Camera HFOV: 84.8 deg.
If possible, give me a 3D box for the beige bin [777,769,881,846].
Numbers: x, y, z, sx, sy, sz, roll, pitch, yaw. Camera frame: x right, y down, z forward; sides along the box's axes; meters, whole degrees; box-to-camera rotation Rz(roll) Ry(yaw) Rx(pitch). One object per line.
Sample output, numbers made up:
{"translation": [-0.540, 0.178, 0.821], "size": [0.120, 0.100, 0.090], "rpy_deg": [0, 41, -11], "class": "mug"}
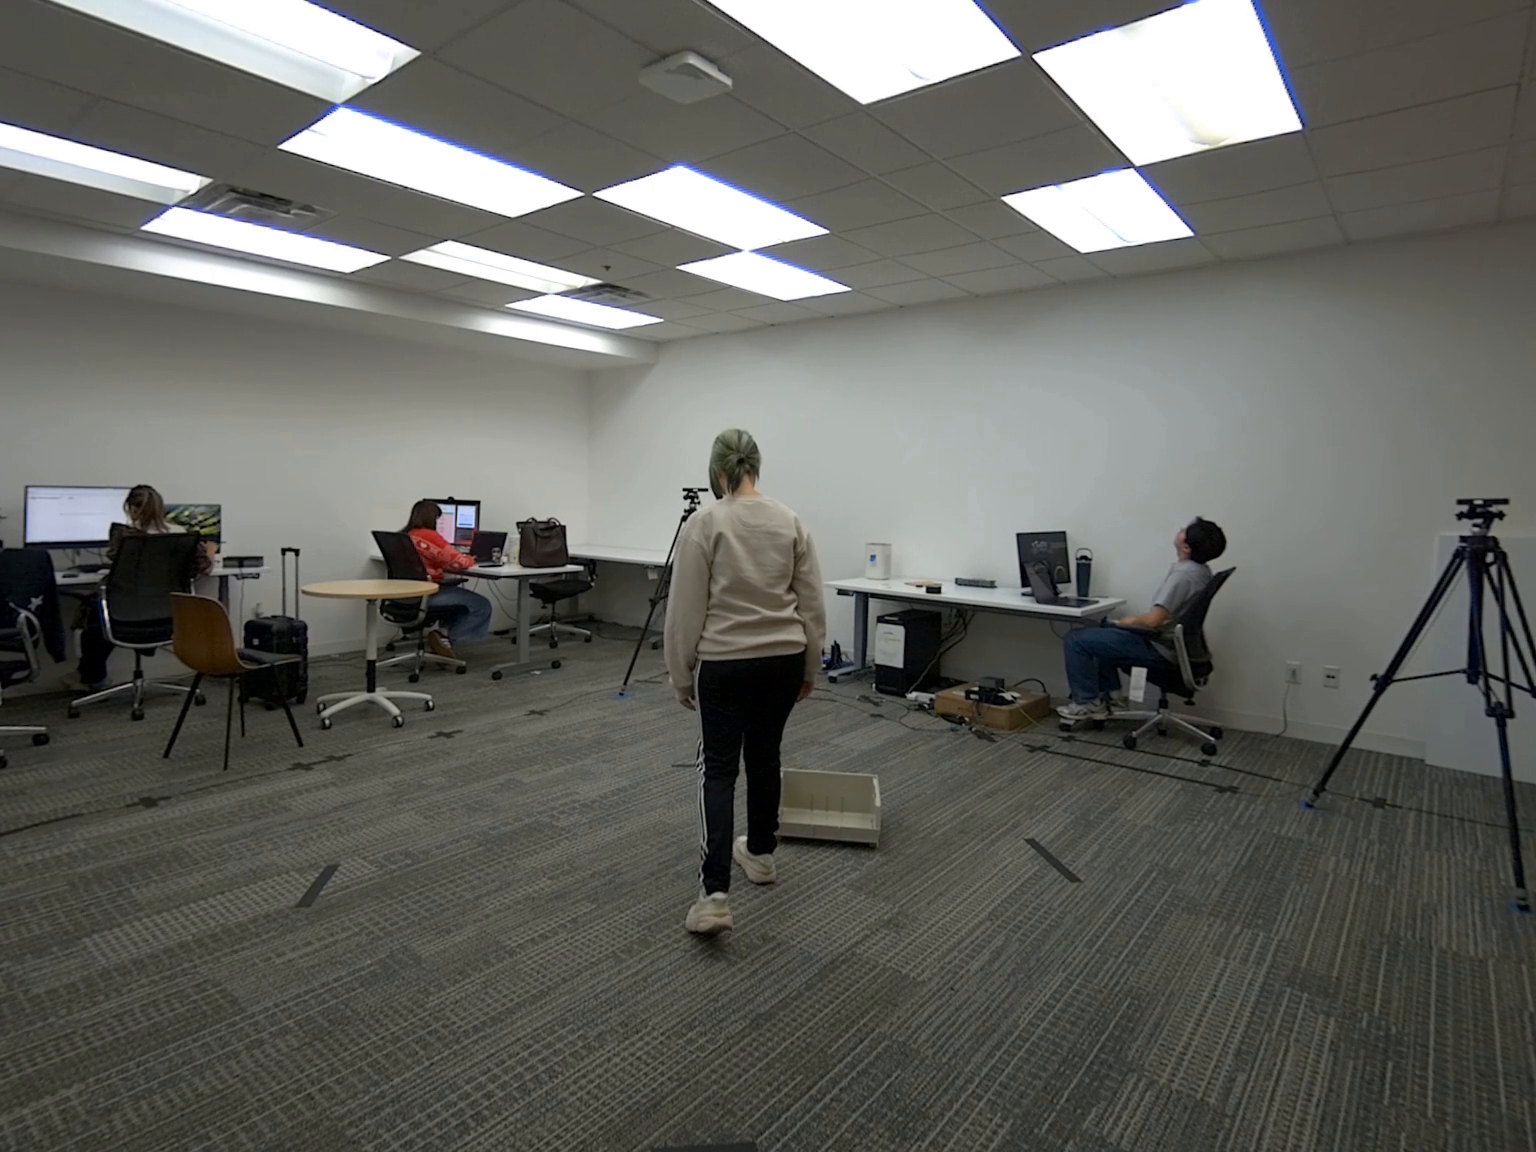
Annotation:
{"translation": [0.236, 0.953, 3.503], "size": [0.426, 0.188, 0.375], "rpy_deg": [1, 4, 6], "class": "beige bin"}
